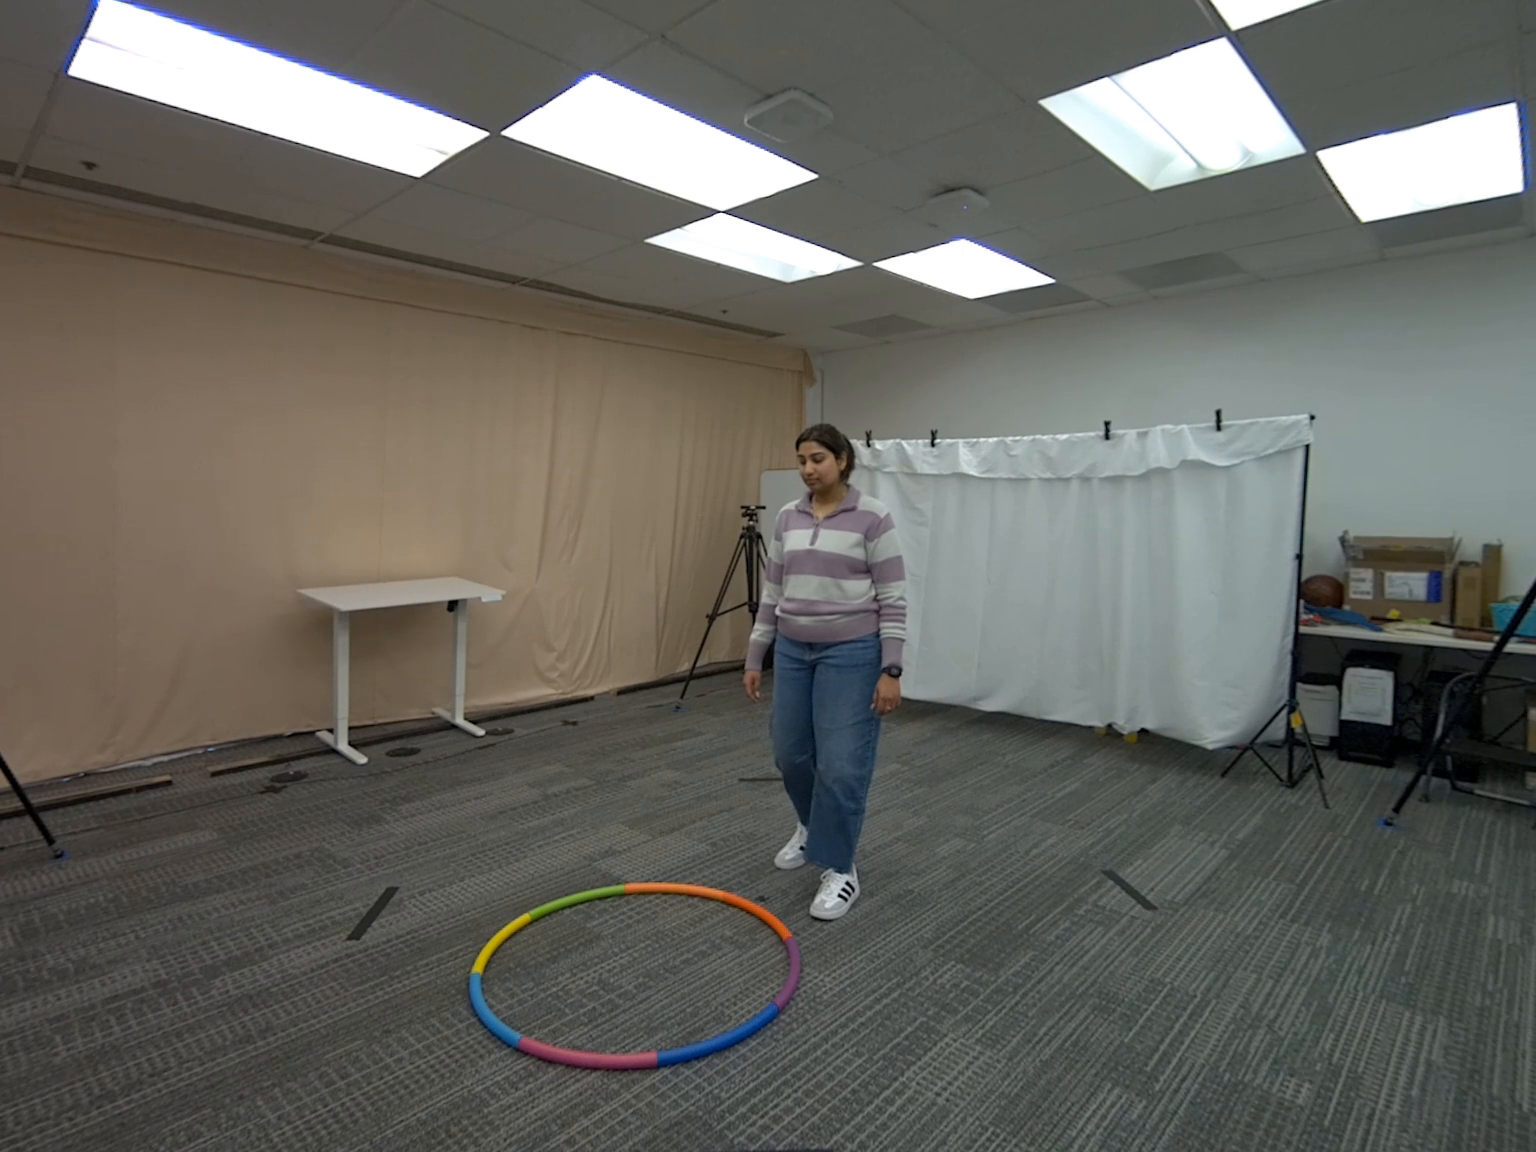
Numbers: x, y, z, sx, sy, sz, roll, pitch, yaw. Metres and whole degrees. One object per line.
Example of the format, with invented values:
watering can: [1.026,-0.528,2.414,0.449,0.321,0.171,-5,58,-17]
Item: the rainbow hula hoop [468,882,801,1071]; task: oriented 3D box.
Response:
rainbow hula hoop: [-0.392,1.154,2.561,0.978,0.035,0.982,-1,4,-2]
